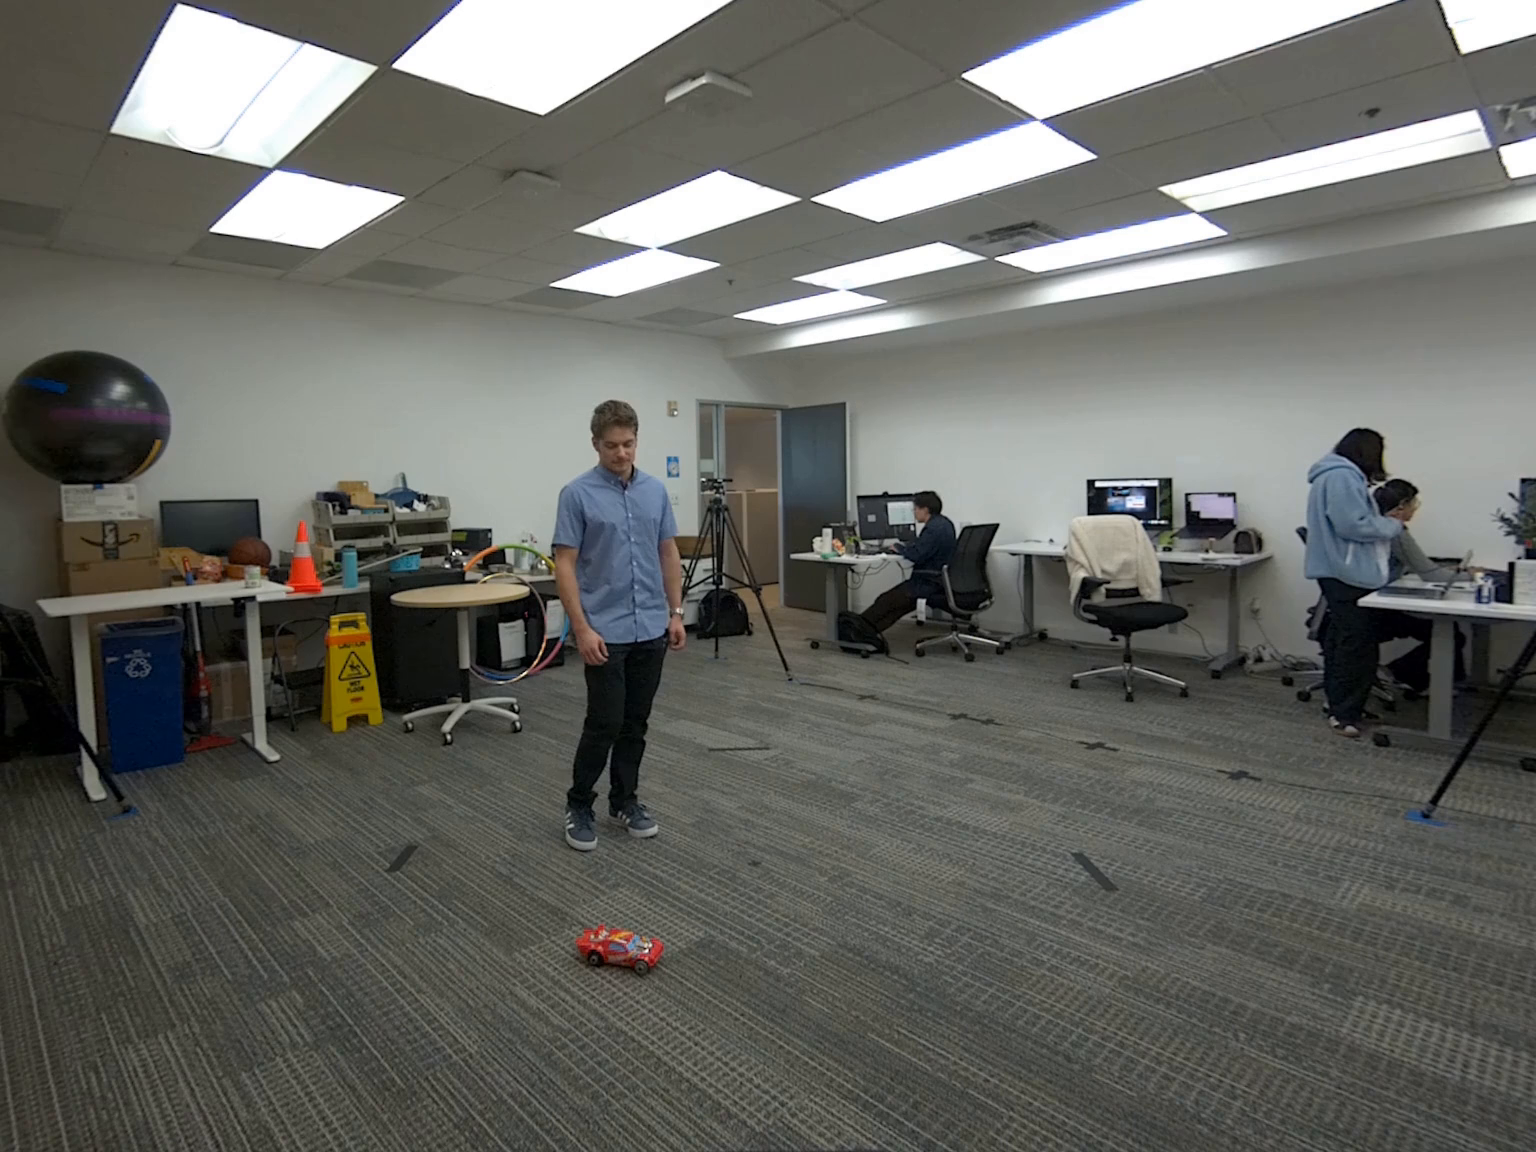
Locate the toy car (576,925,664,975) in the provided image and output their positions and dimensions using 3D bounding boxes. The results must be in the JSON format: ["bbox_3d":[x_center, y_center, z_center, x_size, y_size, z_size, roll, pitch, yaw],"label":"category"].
[{"bbox_3d":[-0.436,1.094,2.498,0.259,0.083,0.129,12,9,16],"label":"toy car"}]
